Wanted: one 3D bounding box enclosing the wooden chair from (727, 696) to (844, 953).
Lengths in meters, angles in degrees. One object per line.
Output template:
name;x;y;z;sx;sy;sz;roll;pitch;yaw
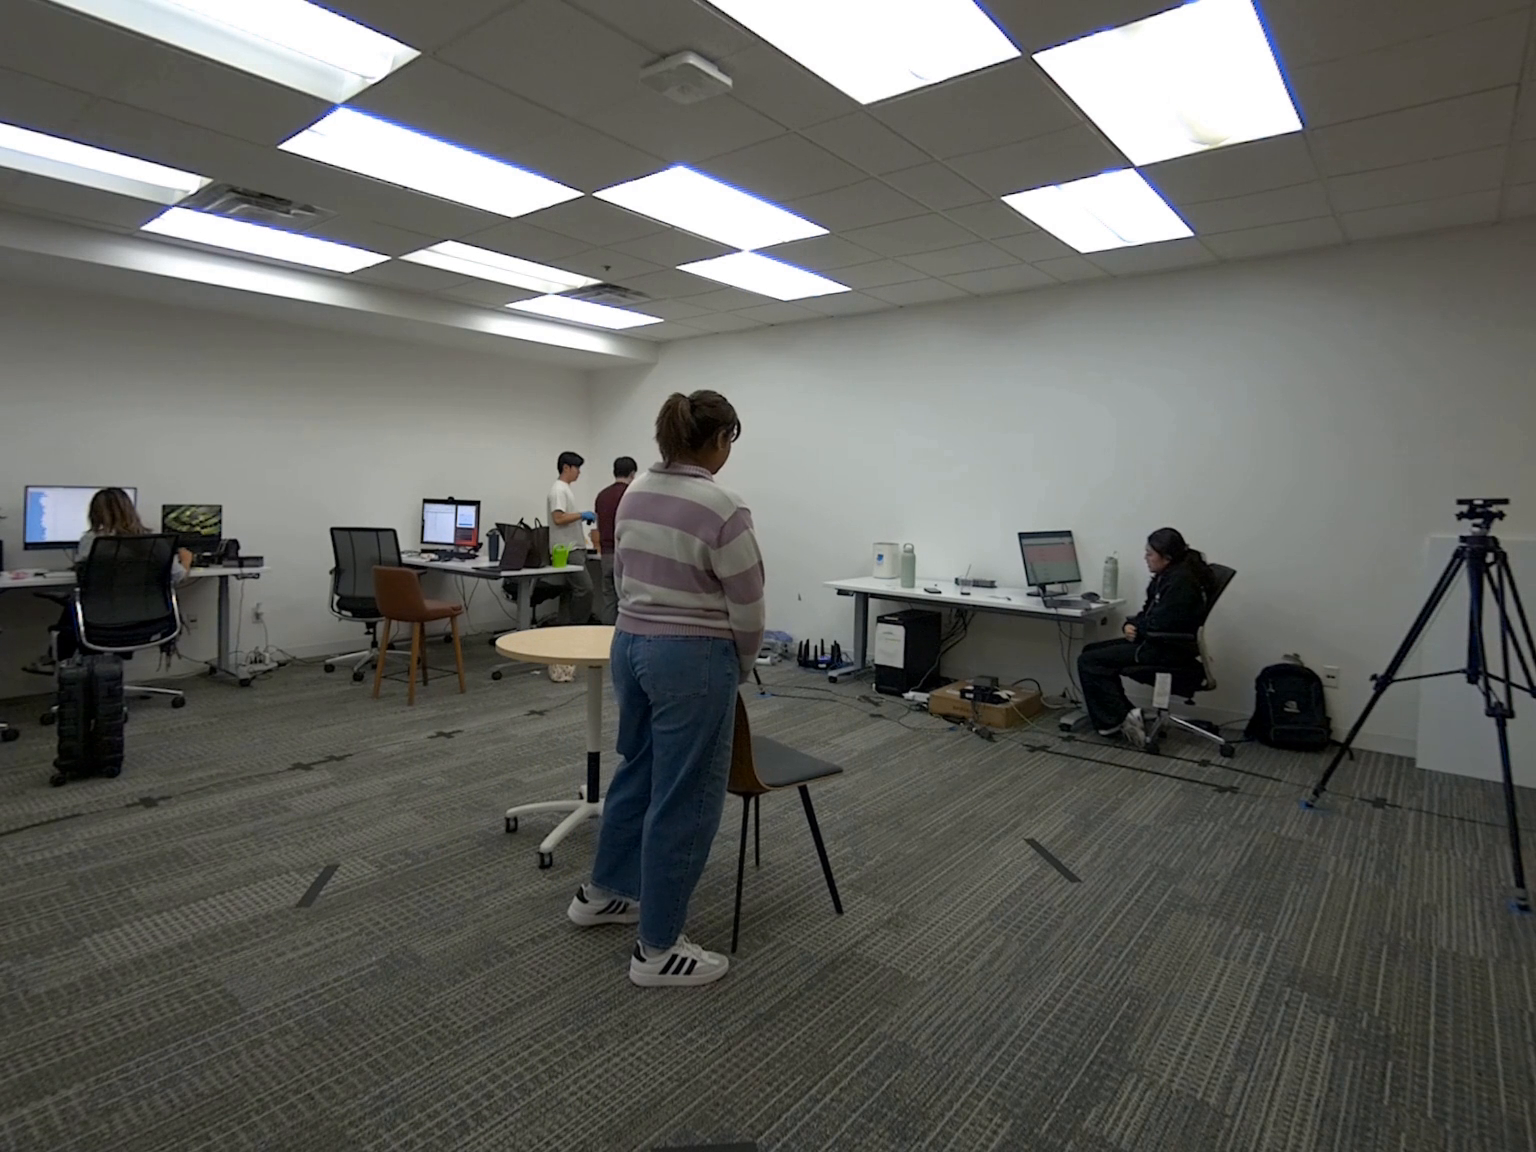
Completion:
wooden chair;-0.060;0.674;2.833;0.509;0.873;0.494;-6;7;-37
